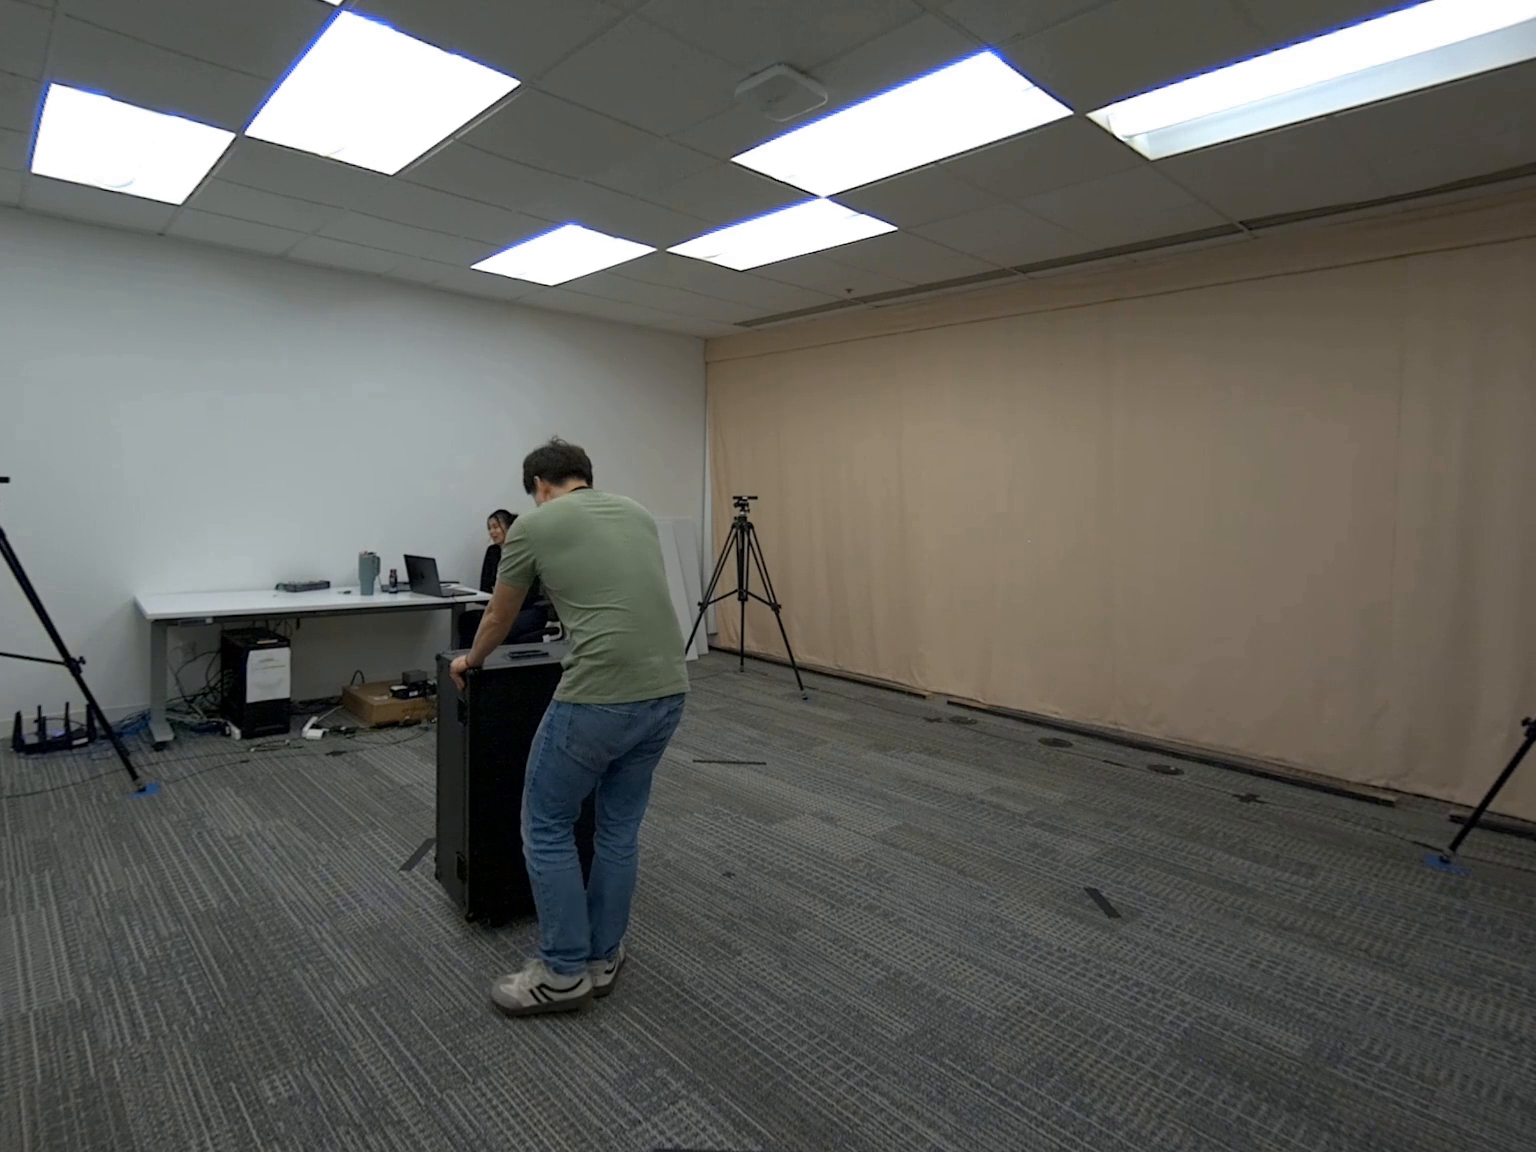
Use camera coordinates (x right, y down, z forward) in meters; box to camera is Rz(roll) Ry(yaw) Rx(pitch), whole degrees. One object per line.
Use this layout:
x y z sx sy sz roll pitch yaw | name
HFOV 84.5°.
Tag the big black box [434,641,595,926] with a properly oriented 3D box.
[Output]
-0.850 0.687 2.850 0.510 0.860 0.406 -1 3 -37 | big black box
